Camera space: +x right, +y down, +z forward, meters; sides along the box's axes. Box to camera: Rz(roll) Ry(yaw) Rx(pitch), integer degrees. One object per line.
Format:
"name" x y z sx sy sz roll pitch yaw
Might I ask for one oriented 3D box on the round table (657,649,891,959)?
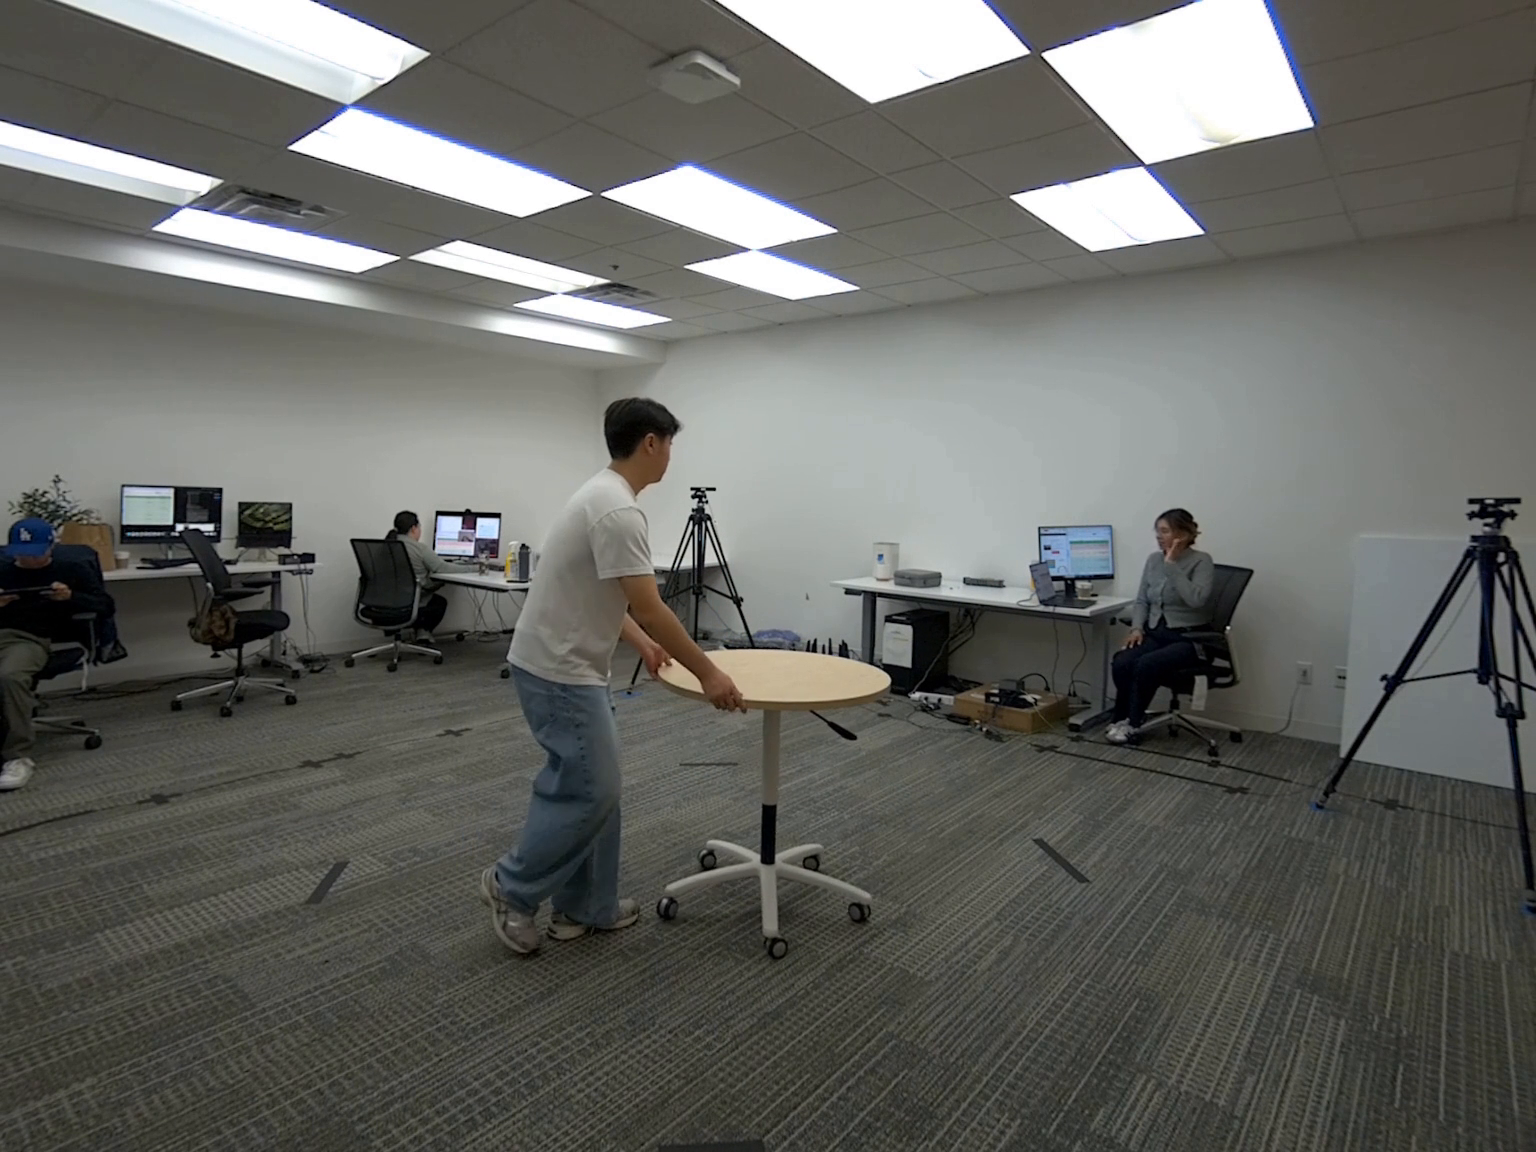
"round table" -0.008 0.705 2.827 0.784 0.784 0.789 1 4 -2
